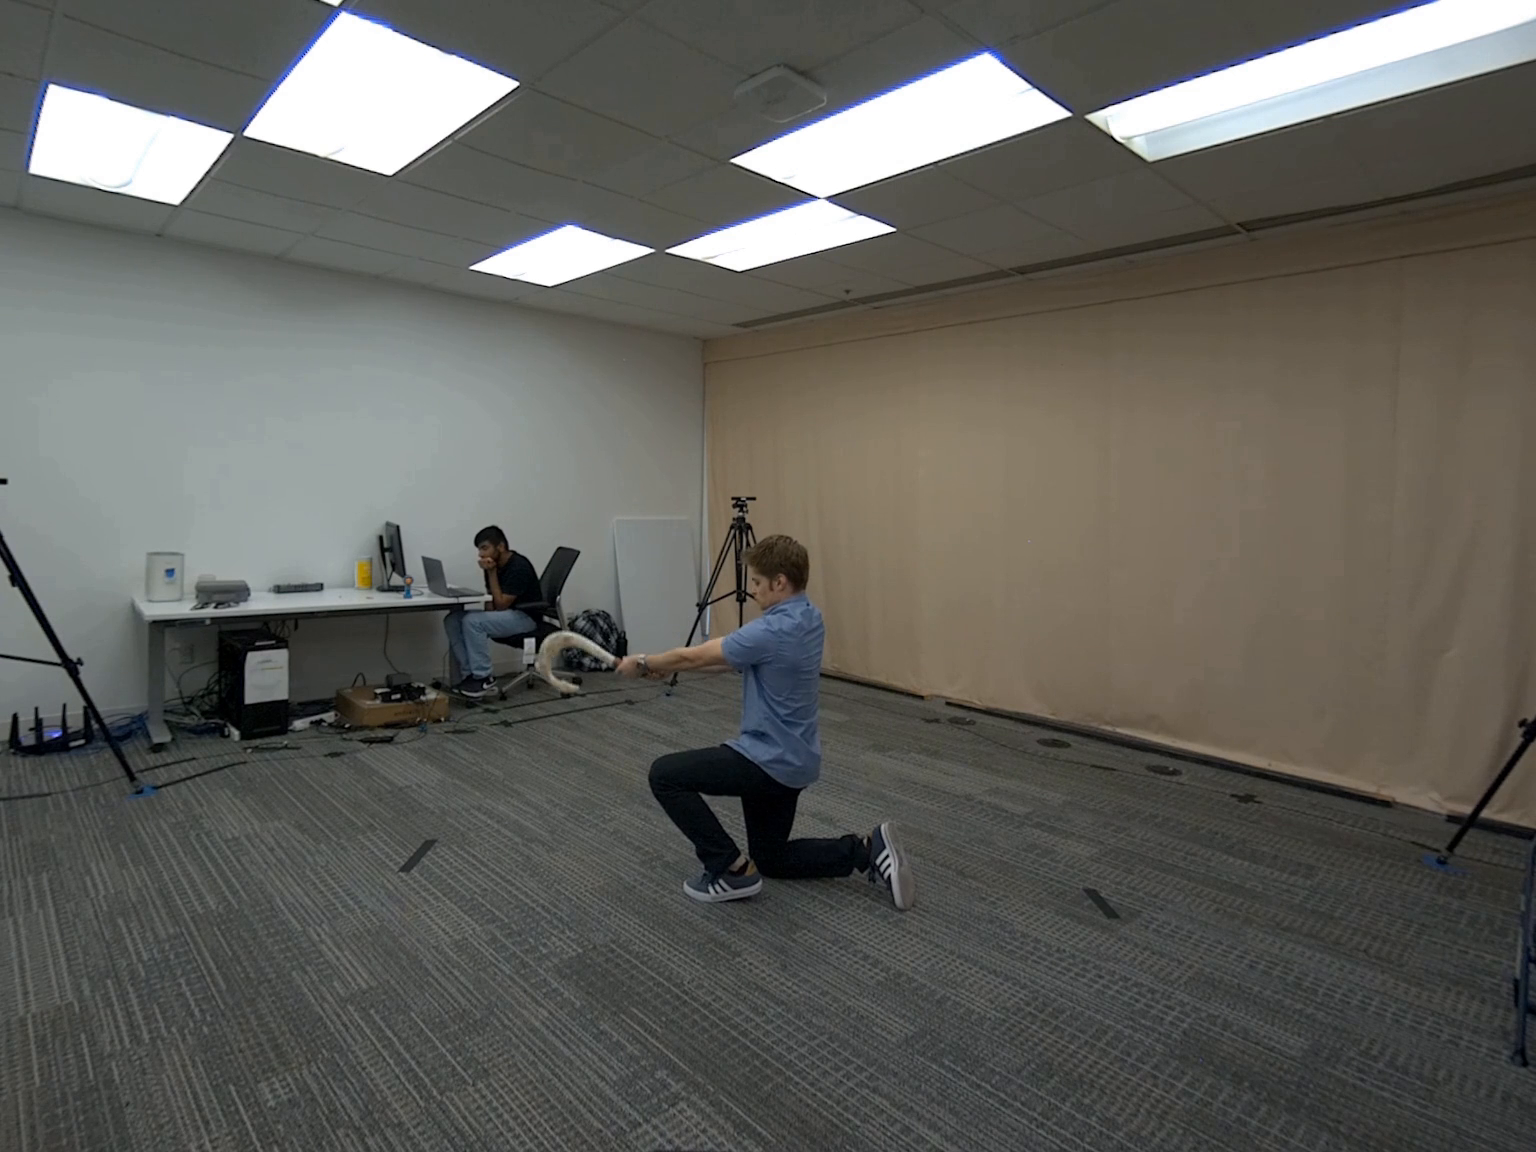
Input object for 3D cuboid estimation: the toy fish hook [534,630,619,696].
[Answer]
[{"bbox_3d":[-0.642,0.356,3.261,0.510,0.224,0.048,13,2,7],"label":"toy fish hook"}]
